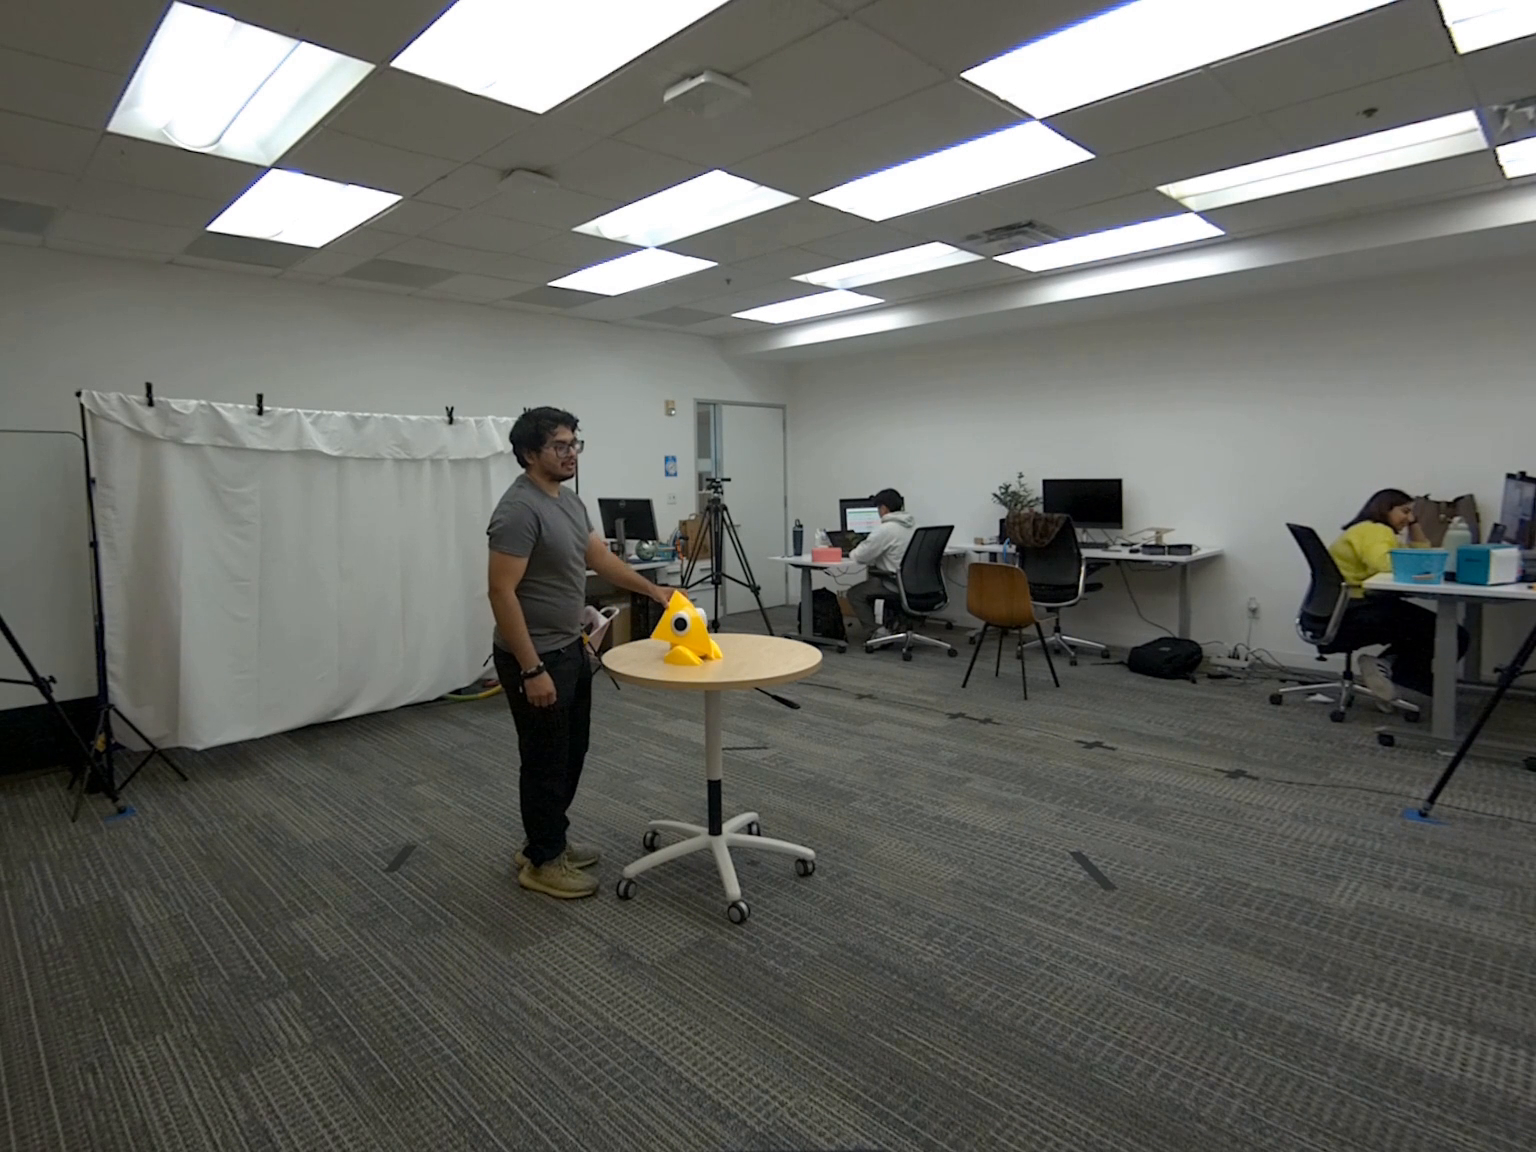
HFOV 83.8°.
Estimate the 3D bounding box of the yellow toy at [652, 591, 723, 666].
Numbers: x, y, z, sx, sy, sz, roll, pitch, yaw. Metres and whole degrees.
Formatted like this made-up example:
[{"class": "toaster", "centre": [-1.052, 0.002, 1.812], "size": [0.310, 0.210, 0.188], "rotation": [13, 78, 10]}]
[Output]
[{"class": "yellow toy", "centre": [-0.268, 0.168, 2.927], "size": [0.199, 0.230, 0.200], "rotation": [3, 6, 36]}]
